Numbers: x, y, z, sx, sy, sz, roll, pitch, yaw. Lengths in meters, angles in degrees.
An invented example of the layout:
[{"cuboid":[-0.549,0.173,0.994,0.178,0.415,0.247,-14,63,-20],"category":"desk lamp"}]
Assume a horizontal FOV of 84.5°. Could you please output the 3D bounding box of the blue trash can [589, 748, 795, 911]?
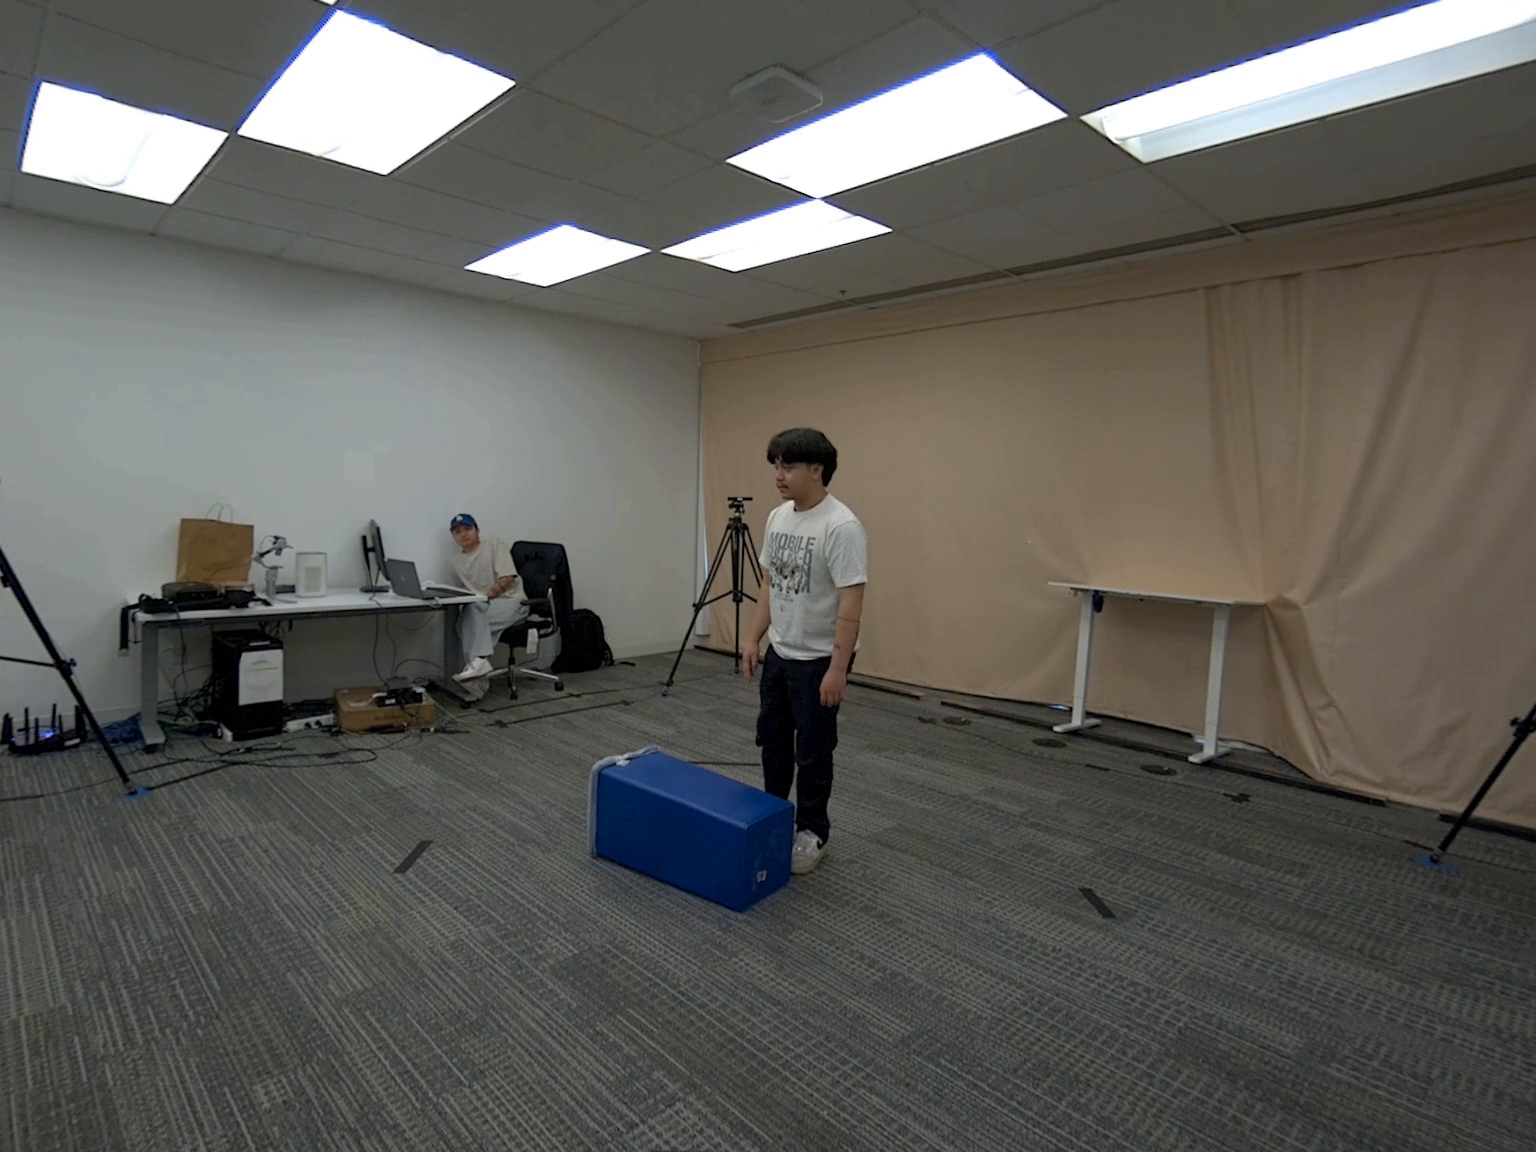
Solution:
[{"cuboid":[-0.298,0.937,3.137,0.732,0.373,0.370,9,7,37],"category":"blue trash can"}]
